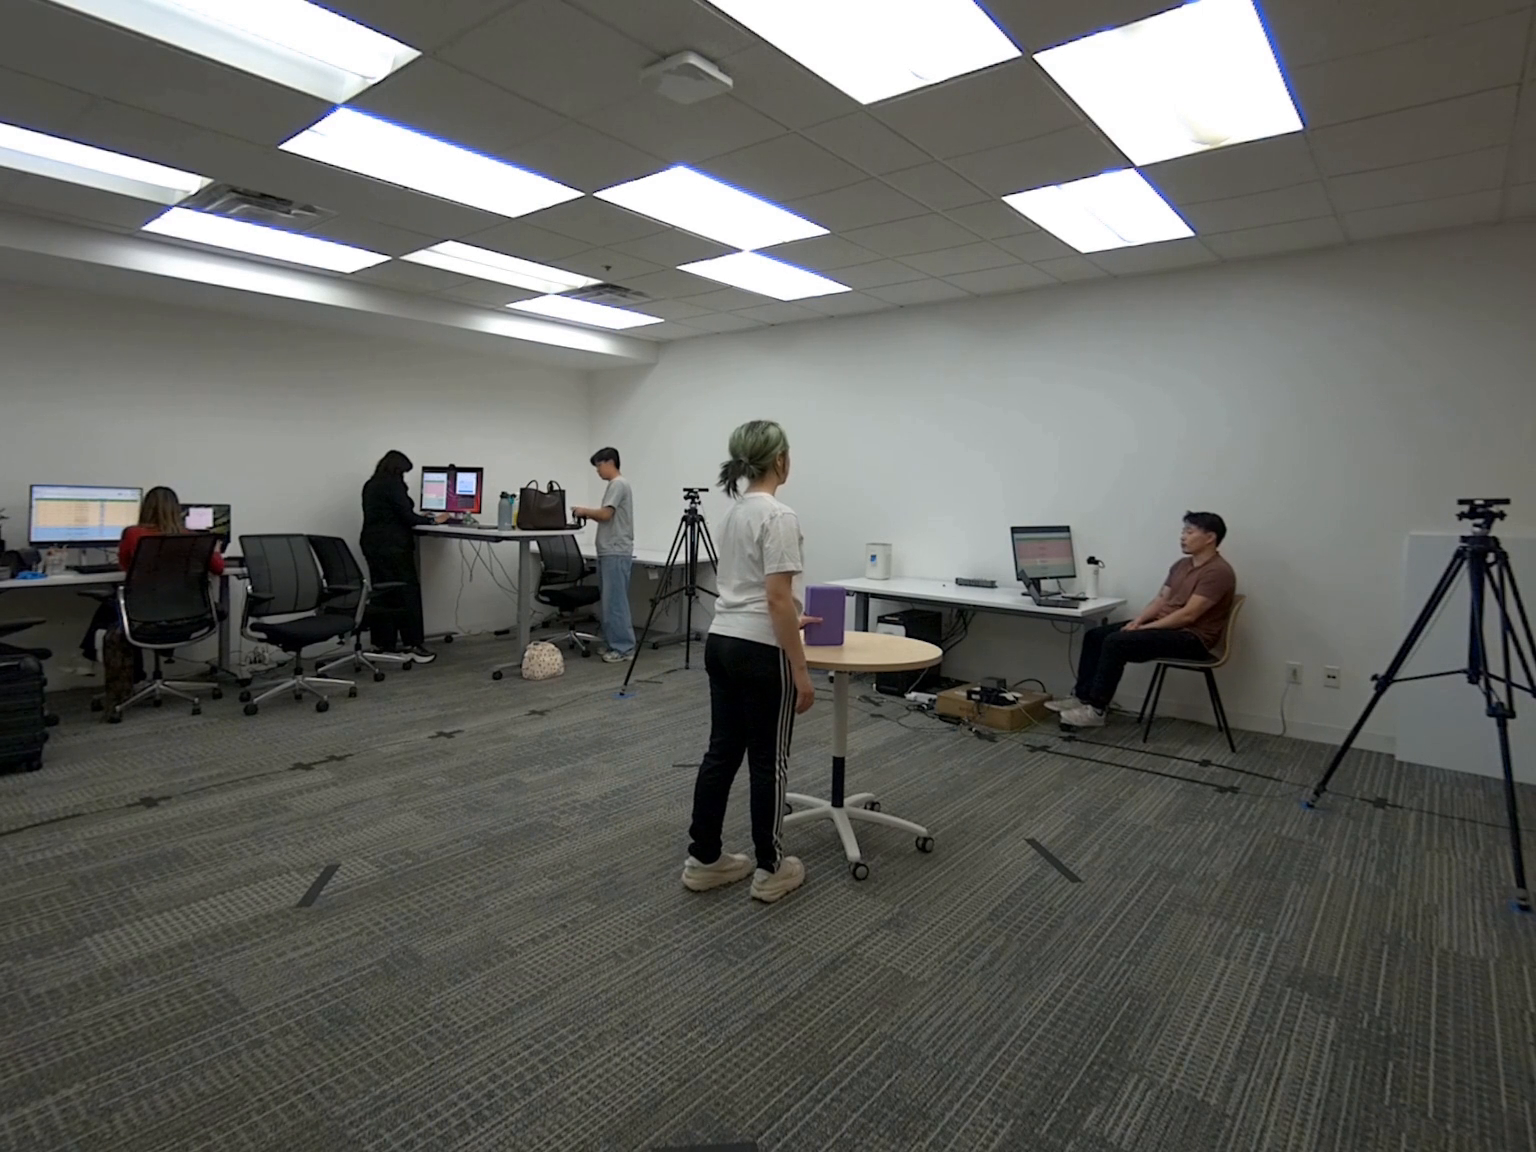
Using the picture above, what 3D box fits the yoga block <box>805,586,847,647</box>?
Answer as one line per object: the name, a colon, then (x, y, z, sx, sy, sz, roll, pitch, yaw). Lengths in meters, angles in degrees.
yoga block: (0.221, 0.152, 3.376, 0.148, 0.229, 0.077, 2, 3, -6)
